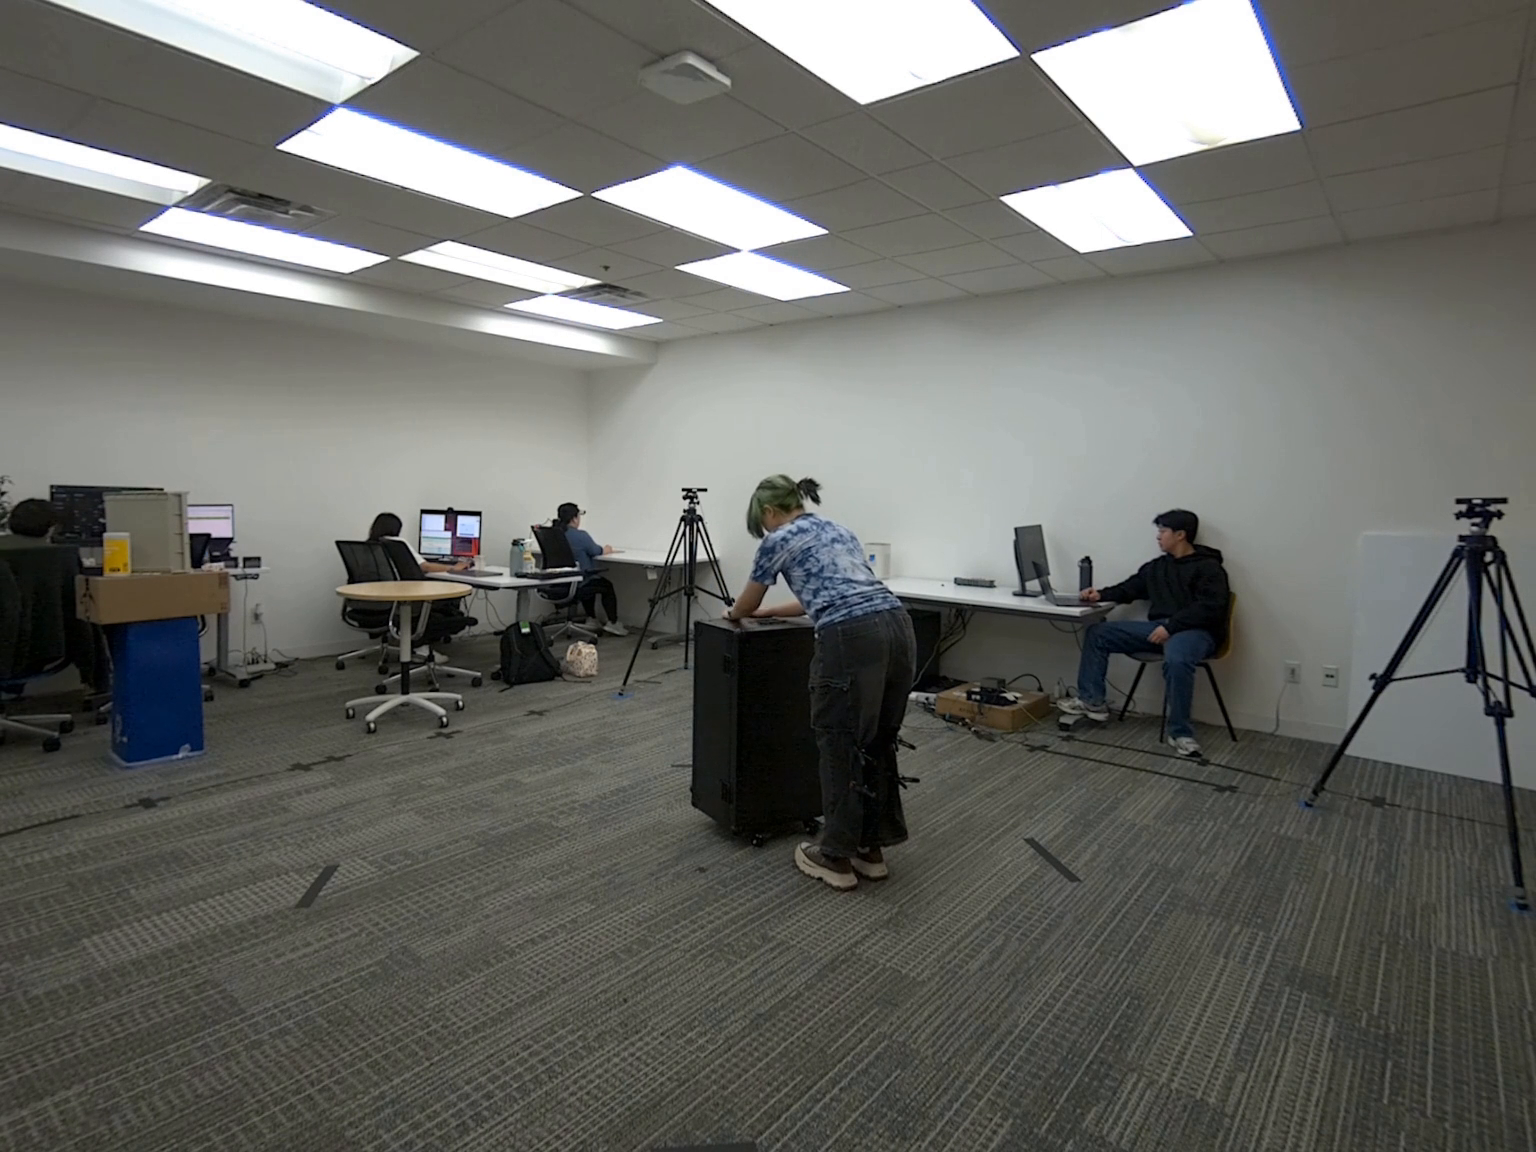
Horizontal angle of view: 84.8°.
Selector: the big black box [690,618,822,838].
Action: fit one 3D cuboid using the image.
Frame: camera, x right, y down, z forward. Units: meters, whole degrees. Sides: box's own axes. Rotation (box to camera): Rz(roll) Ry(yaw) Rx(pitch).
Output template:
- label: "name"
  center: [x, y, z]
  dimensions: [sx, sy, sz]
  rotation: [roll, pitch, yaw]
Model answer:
- label: "big black box"
  center: [-0.029, 0.550, 3.510]
  dimensions: [0.507, 0.859, 0.408]
  rotation: [-1, 3, -32]
